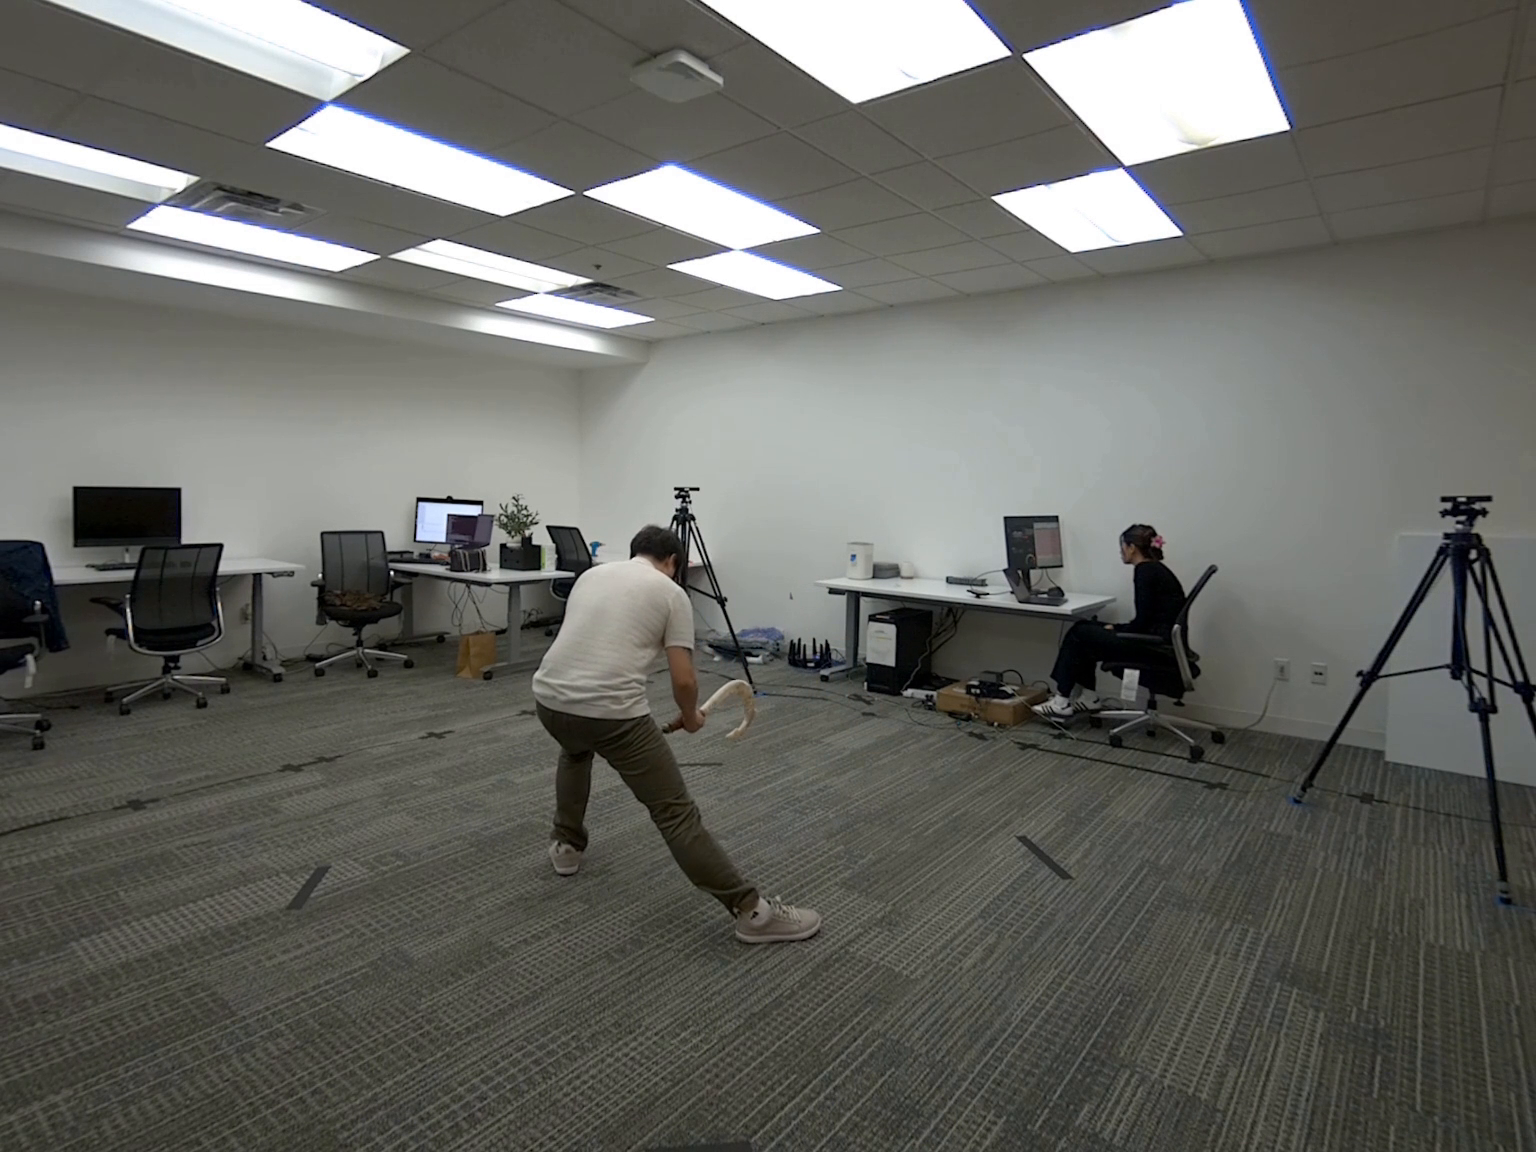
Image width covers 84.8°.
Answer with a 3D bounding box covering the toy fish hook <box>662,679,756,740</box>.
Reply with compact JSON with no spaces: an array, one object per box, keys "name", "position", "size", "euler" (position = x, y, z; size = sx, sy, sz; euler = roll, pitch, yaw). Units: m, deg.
[{"name":"toy fish hook","position":[-0.222,0.559,3.278],"size":[0.049,0.224,0.495],"euler":[-12,4,44]}]
